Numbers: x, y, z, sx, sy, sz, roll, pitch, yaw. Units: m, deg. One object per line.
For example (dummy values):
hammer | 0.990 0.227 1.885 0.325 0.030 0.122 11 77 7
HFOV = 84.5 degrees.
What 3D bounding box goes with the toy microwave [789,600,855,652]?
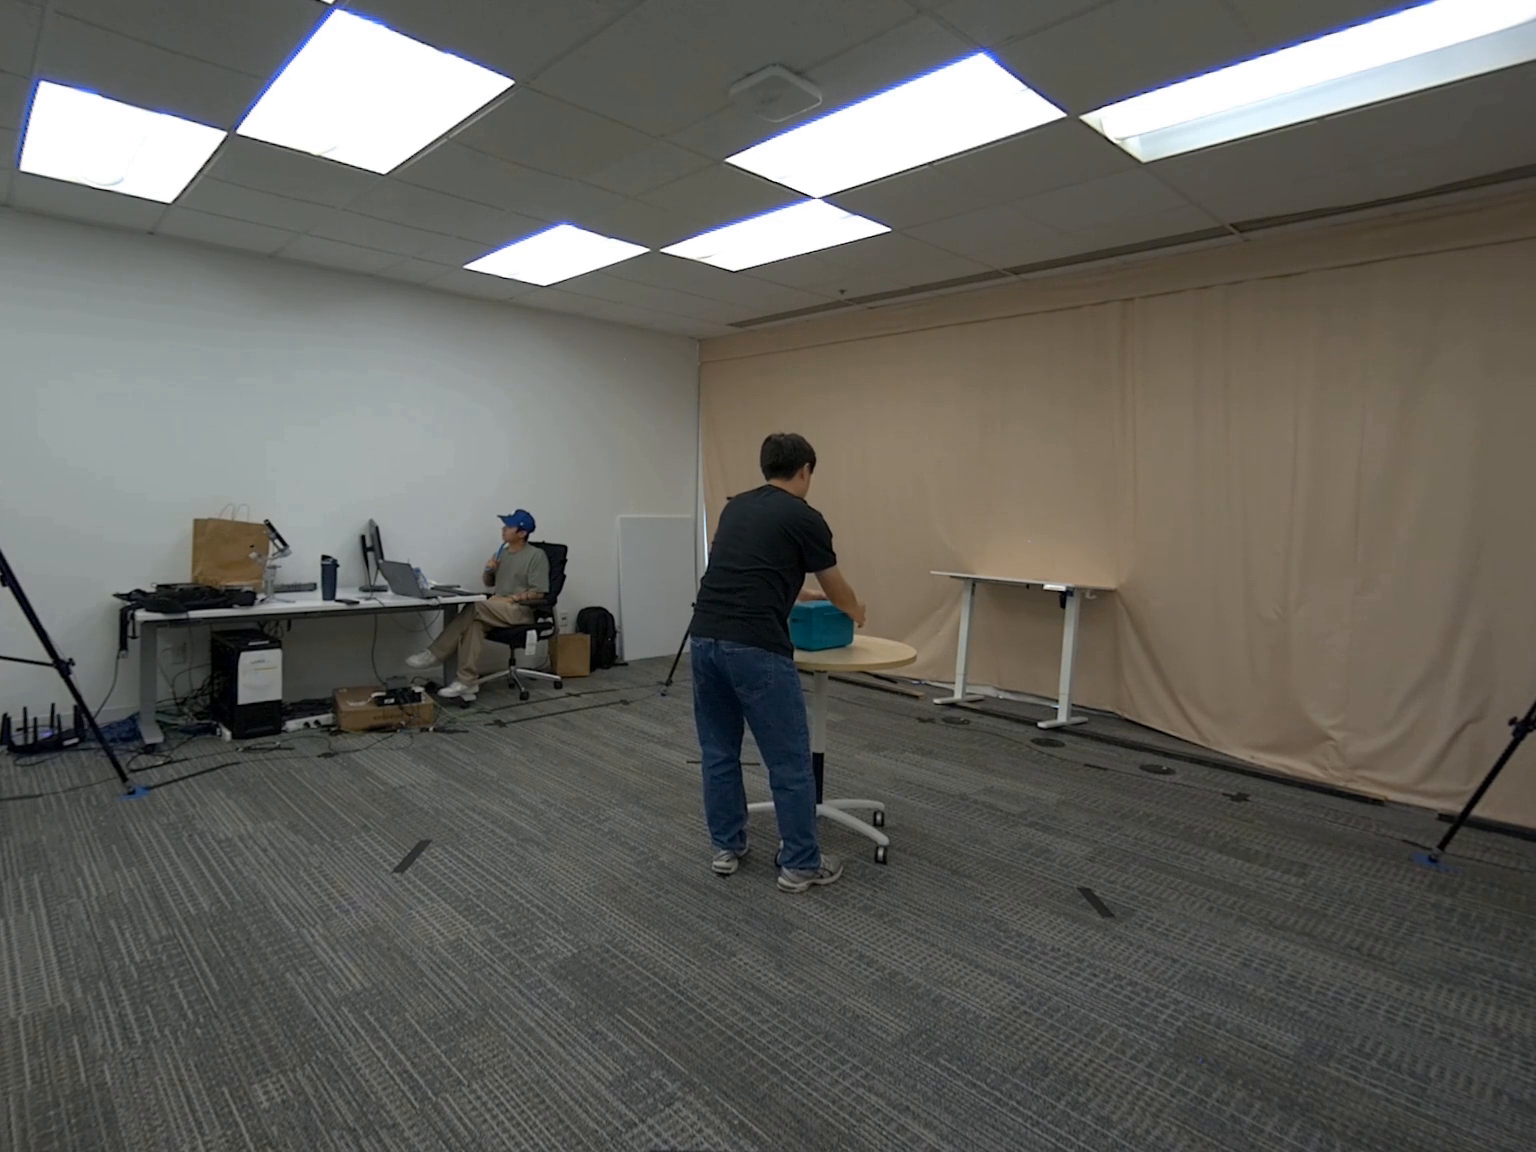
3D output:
toy microwave | 0.210 0.199 3.438 0.156 0.183 0.280 5 6 44
